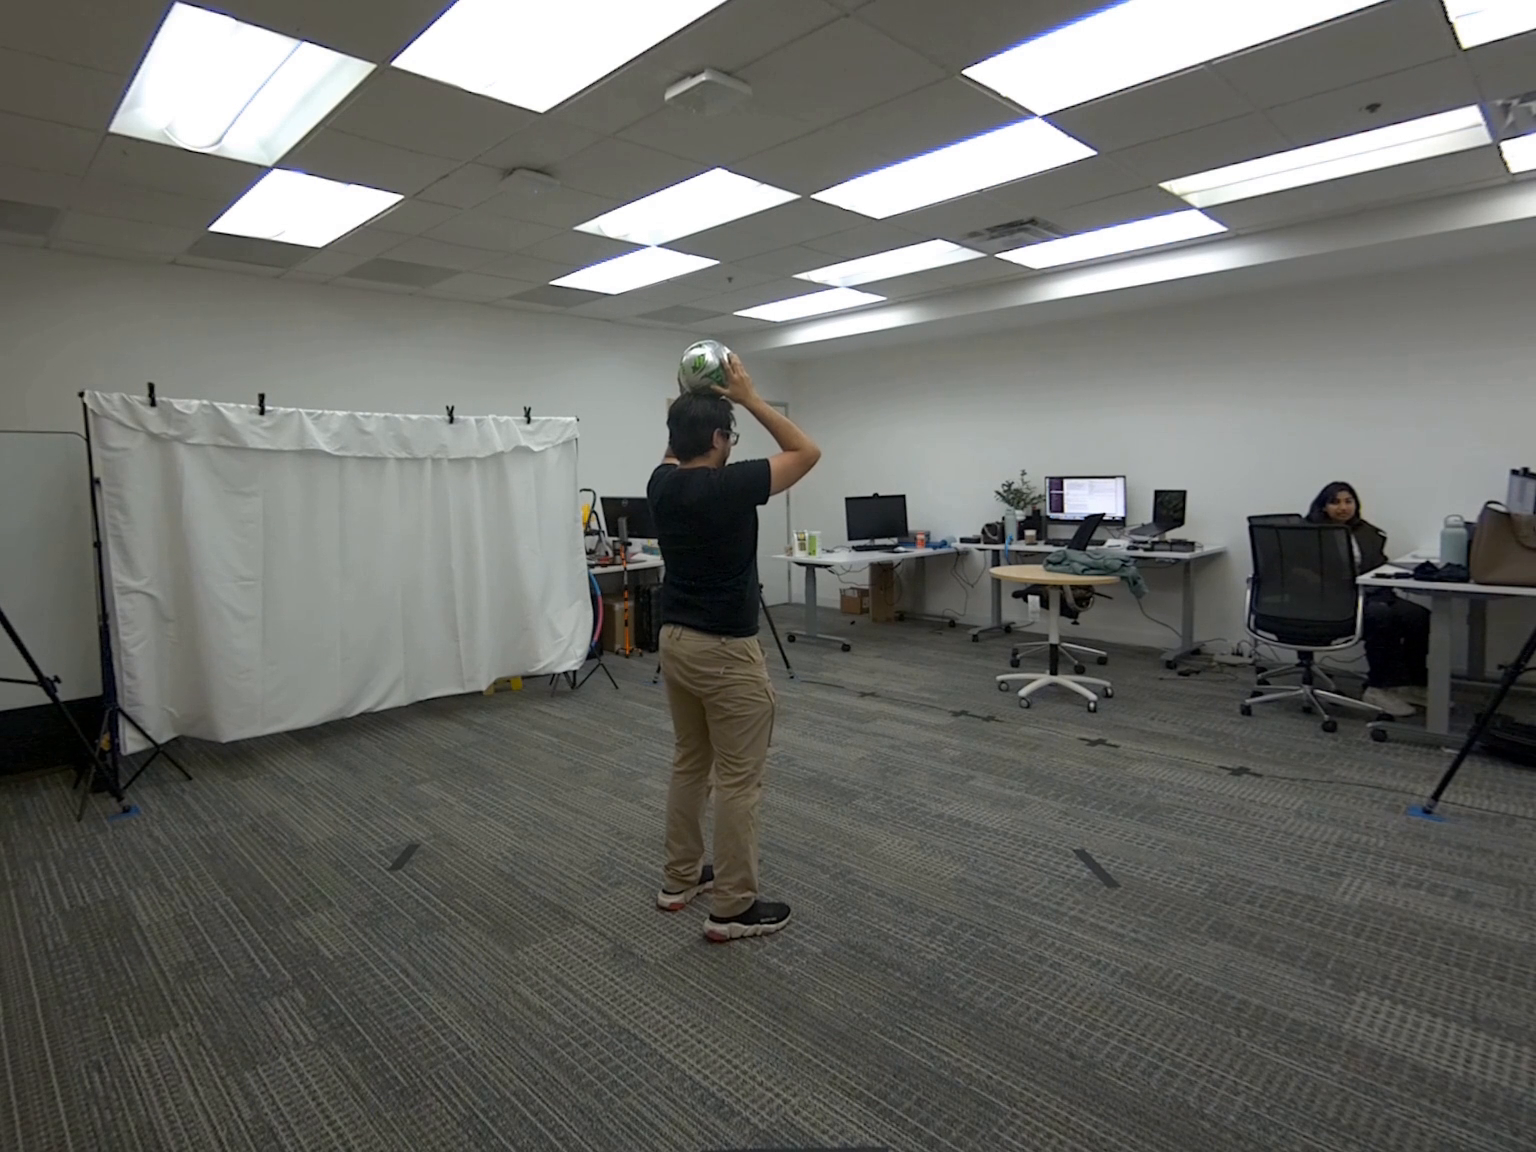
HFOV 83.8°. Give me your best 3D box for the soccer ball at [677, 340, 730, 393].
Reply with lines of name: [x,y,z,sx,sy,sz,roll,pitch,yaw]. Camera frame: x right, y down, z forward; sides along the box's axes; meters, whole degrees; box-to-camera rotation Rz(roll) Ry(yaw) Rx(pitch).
soccer ball: [-0.189,-0.654,2.729,0.187,0.187,0.188,-1,5,-2]
